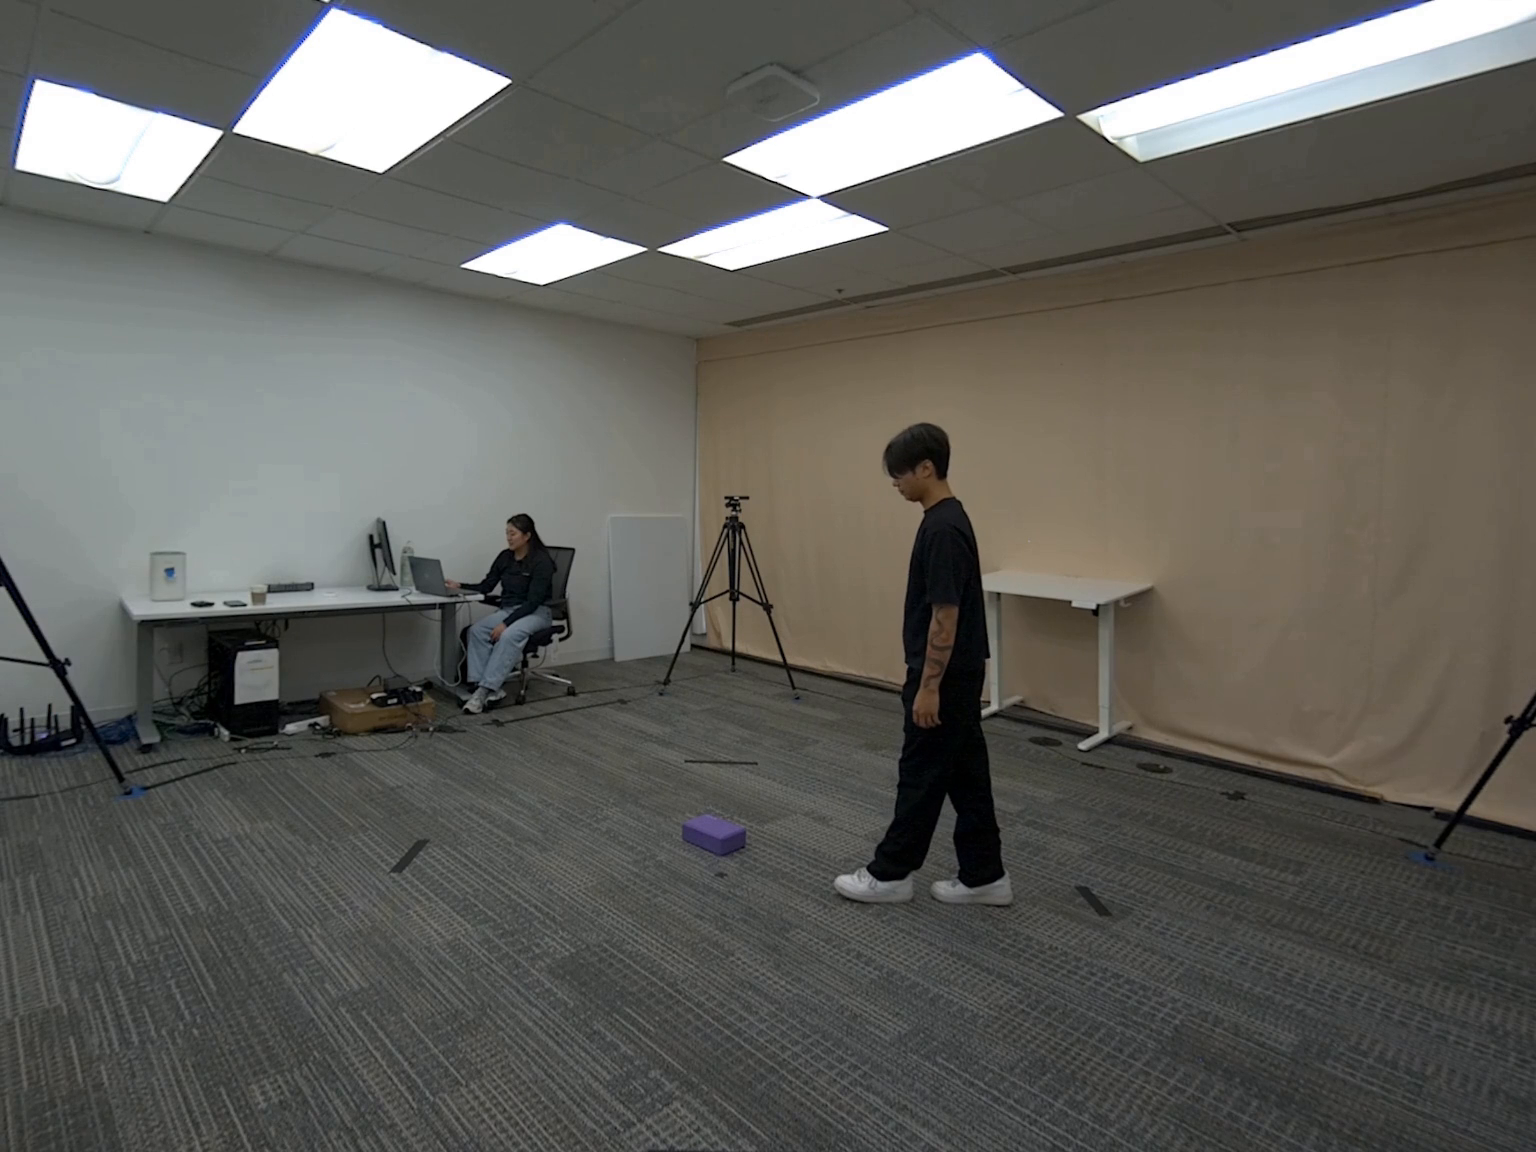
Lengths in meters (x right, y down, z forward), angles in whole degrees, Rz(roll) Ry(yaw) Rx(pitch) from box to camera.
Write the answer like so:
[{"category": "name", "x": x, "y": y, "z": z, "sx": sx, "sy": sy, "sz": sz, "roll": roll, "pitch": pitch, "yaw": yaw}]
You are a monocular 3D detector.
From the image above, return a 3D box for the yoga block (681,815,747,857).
[{"category": "yoga block", "x": -0.226, "y": 1.039, "z": 3.382, "sx": 0.235, "sy": 0.076, "sz": 0.146, "roll": 6, "pitch": 6, "yaw": 41}]
